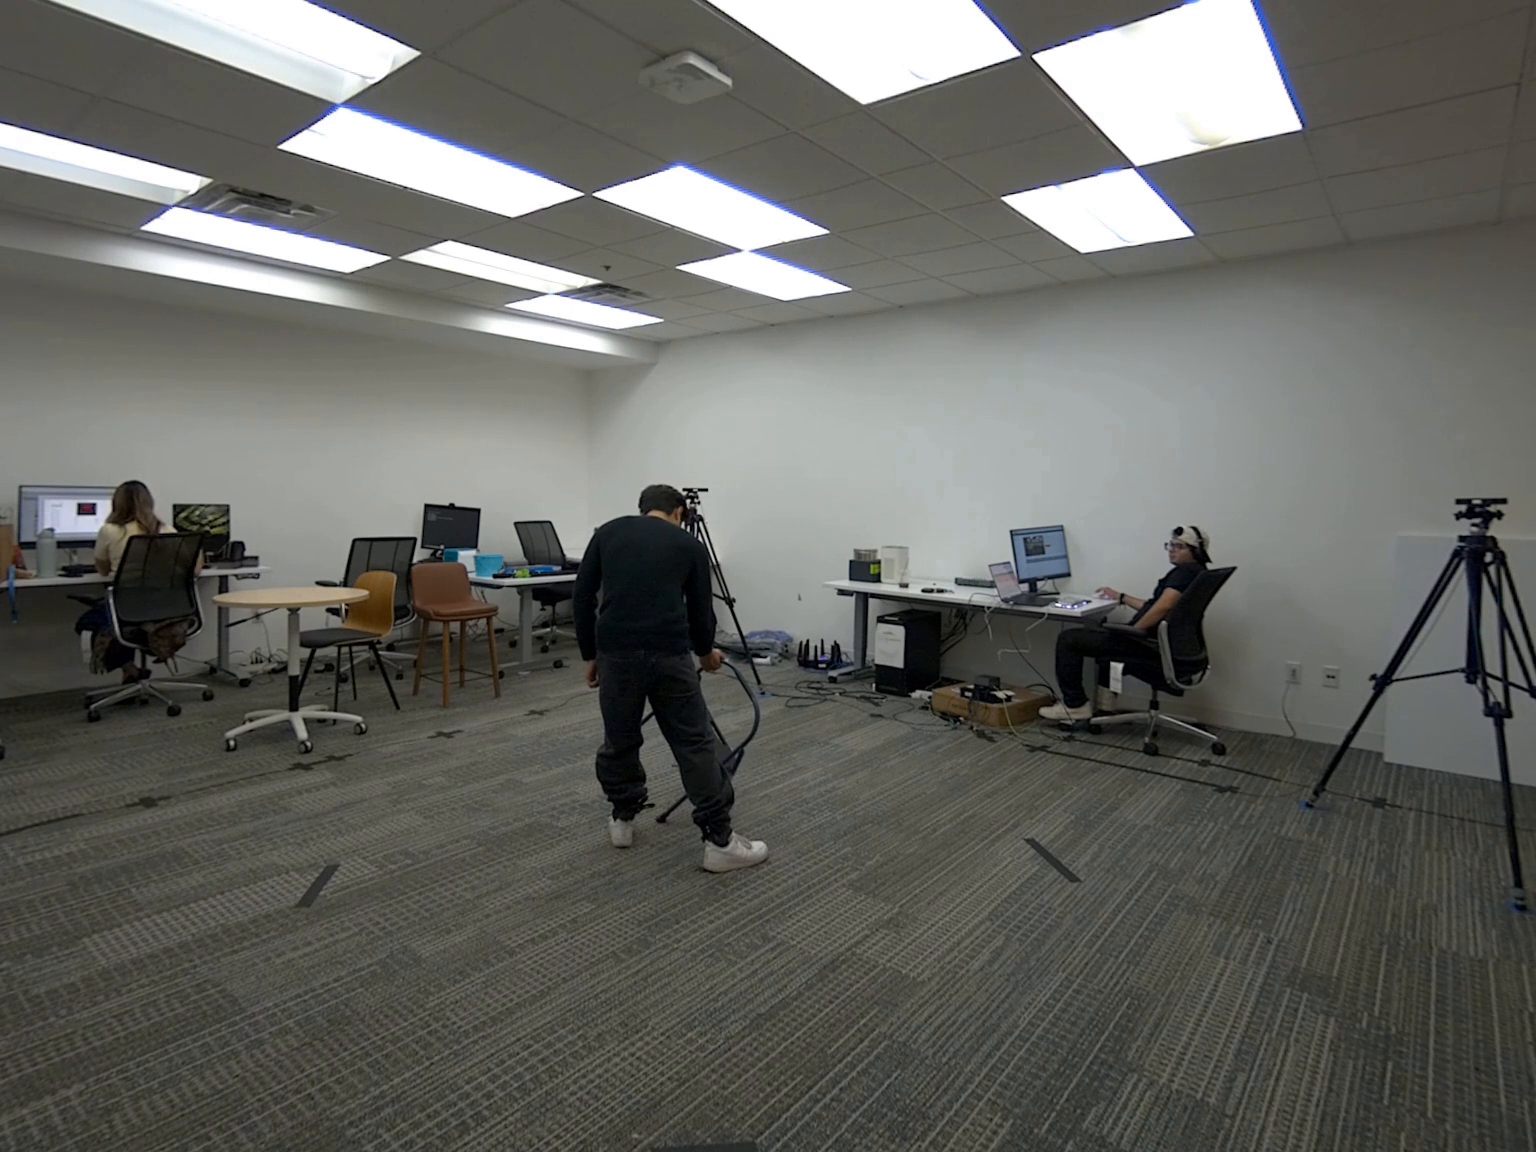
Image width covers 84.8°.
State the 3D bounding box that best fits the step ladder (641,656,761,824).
[{"bbox_3d":[-0.300,0.651,3.606,0.338,0.602,0.447,-1,45,-43],"label":"step ladder"}]
